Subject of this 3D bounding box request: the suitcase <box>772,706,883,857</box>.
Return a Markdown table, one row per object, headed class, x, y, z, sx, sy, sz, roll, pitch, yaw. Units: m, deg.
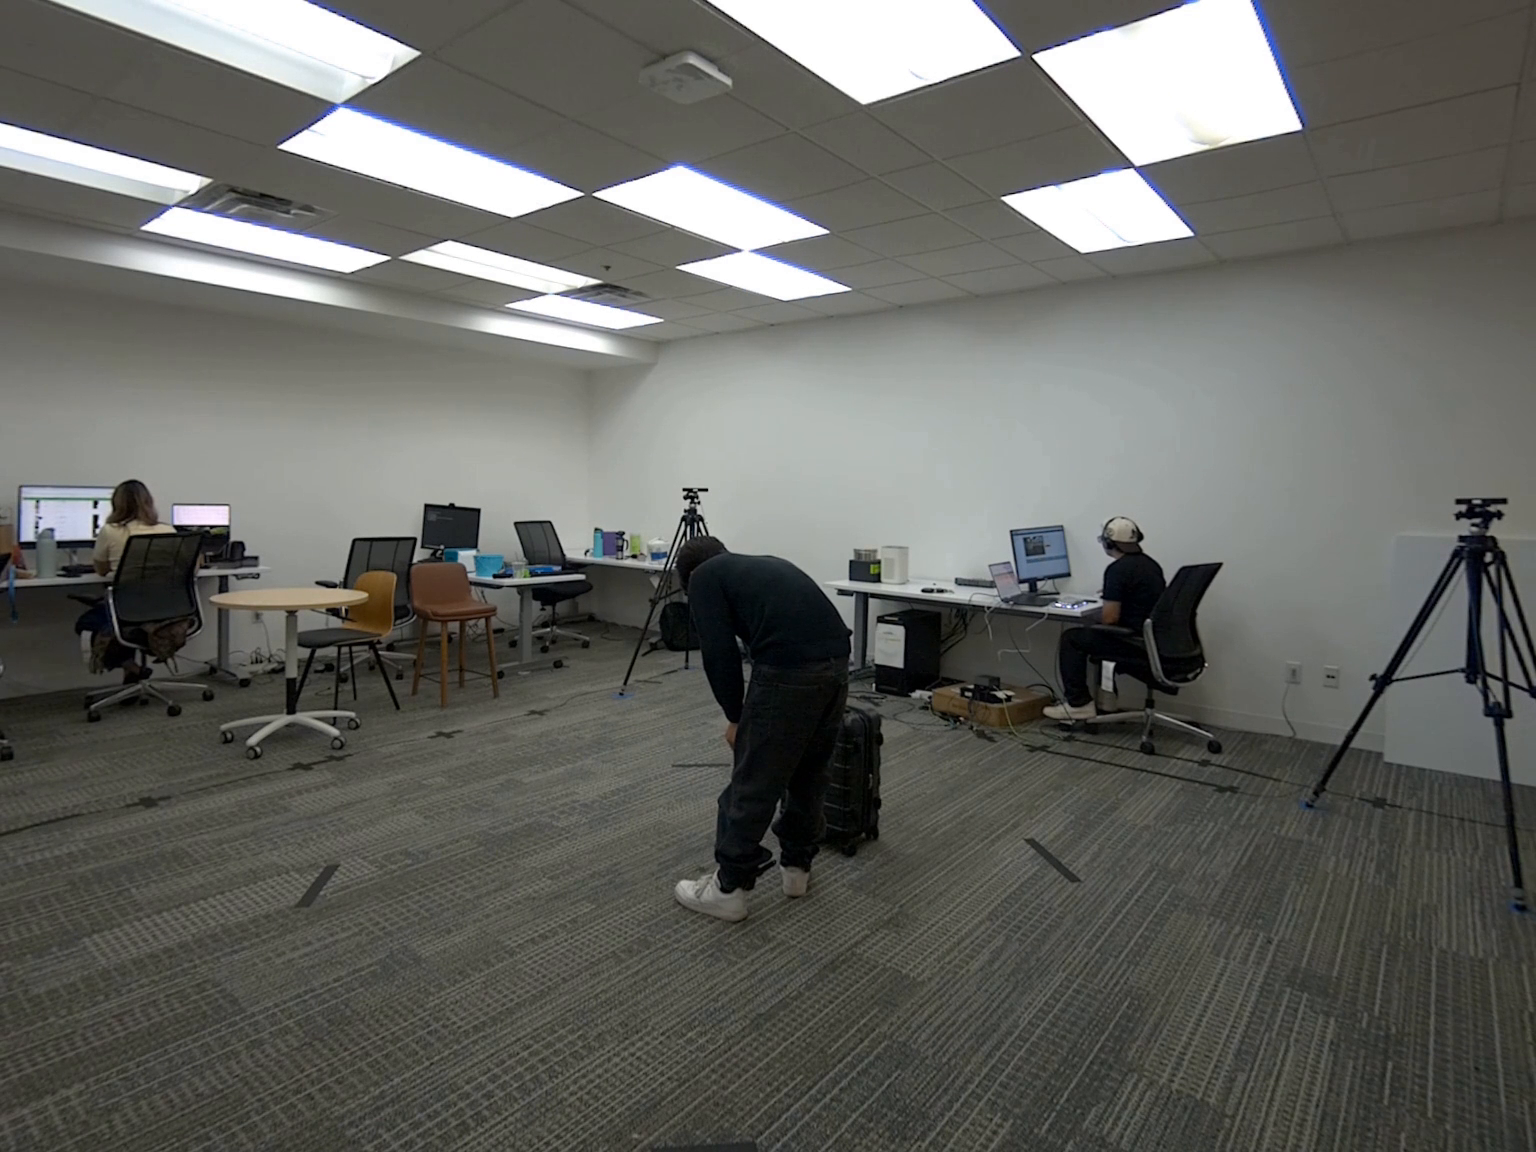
| class | x | y | z | sx | sy | sz | roll | pitch | yaw |
| --- | --- | --- | --- | --- | --- | --- | --- | --- | --- |
| suitcase | 0.245 | 0.769 | 3.421 | 0.388 | 0.548 | 0.241 | 4 | 4 | 40 |
